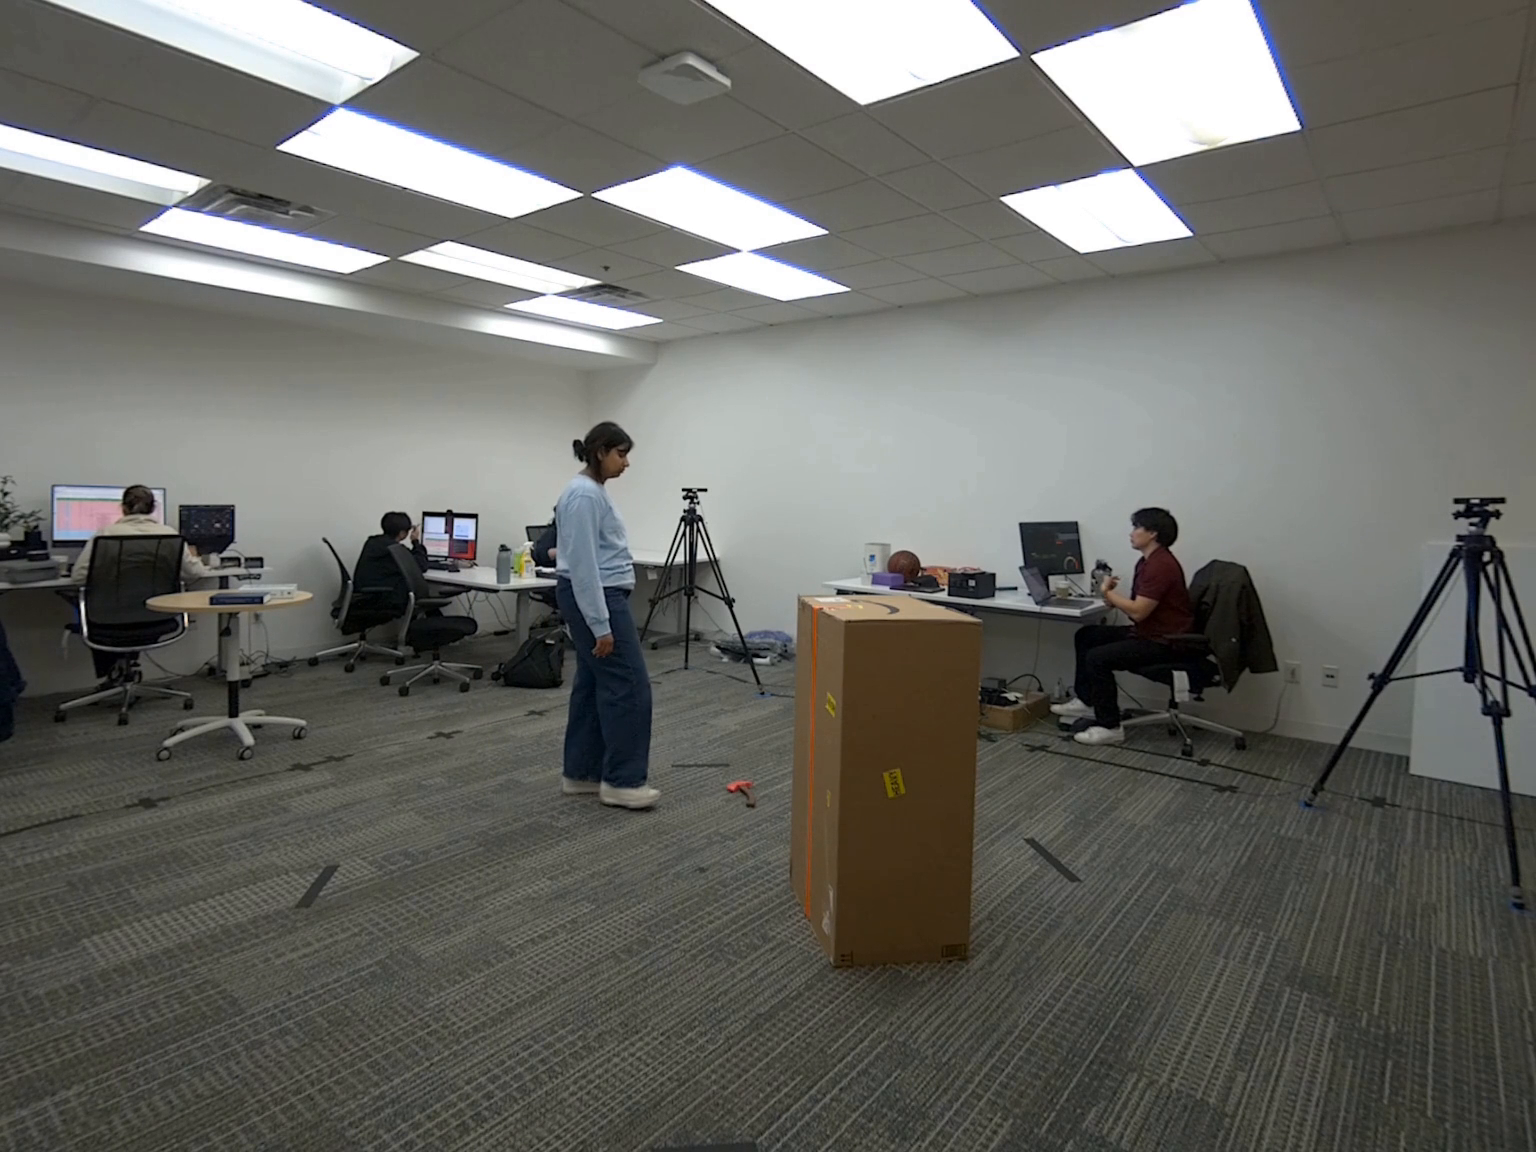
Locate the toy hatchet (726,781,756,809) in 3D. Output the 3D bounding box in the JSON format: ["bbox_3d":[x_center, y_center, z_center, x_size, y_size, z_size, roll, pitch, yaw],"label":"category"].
[{"bbox_3d":[-0.134,0.987,3.859,0.131,0.029,0.271,2,6,0],"label":"toy hatchet"}]
